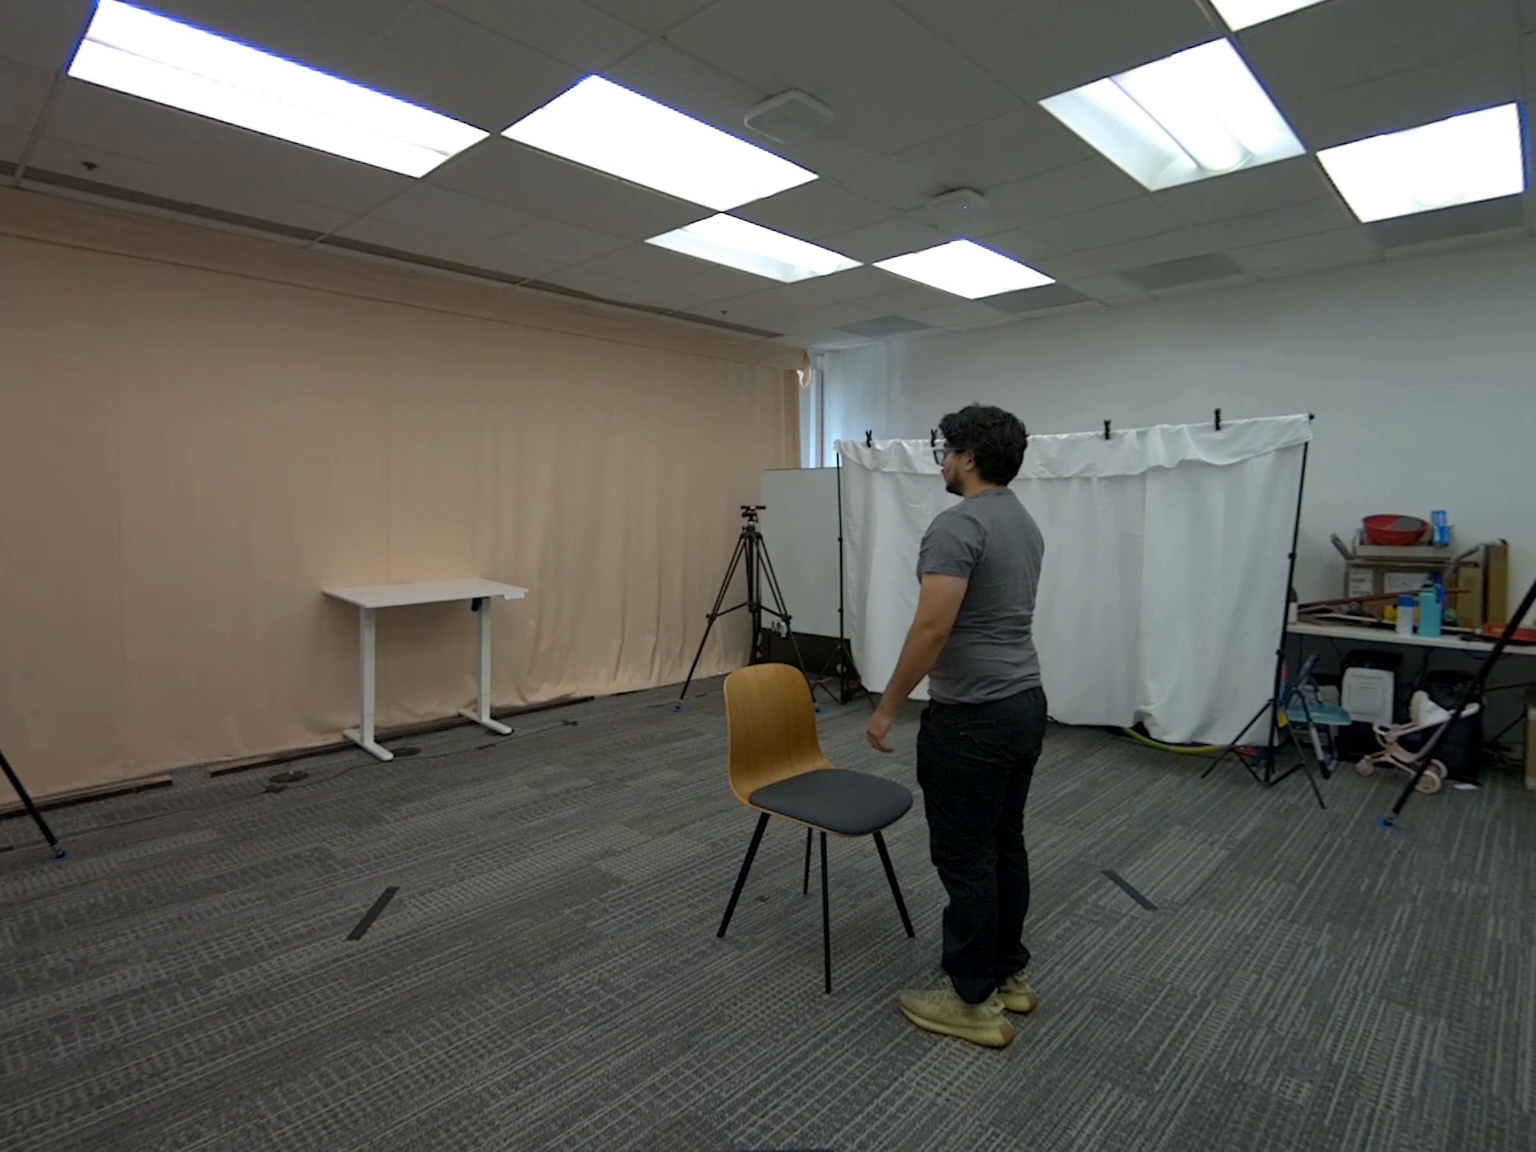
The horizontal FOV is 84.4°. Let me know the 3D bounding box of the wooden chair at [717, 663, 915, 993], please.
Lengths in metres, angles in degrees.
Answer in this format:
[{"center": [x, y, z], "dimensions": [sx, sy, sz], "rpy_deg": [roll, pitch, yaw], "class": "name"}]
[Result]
[{"center": [0.162, 0.743, 2.682], "dimensions": [0.539, 0.877, 0.463], "rpy_deg": [-3, 1, 44], "class": "wooden chair"}]
